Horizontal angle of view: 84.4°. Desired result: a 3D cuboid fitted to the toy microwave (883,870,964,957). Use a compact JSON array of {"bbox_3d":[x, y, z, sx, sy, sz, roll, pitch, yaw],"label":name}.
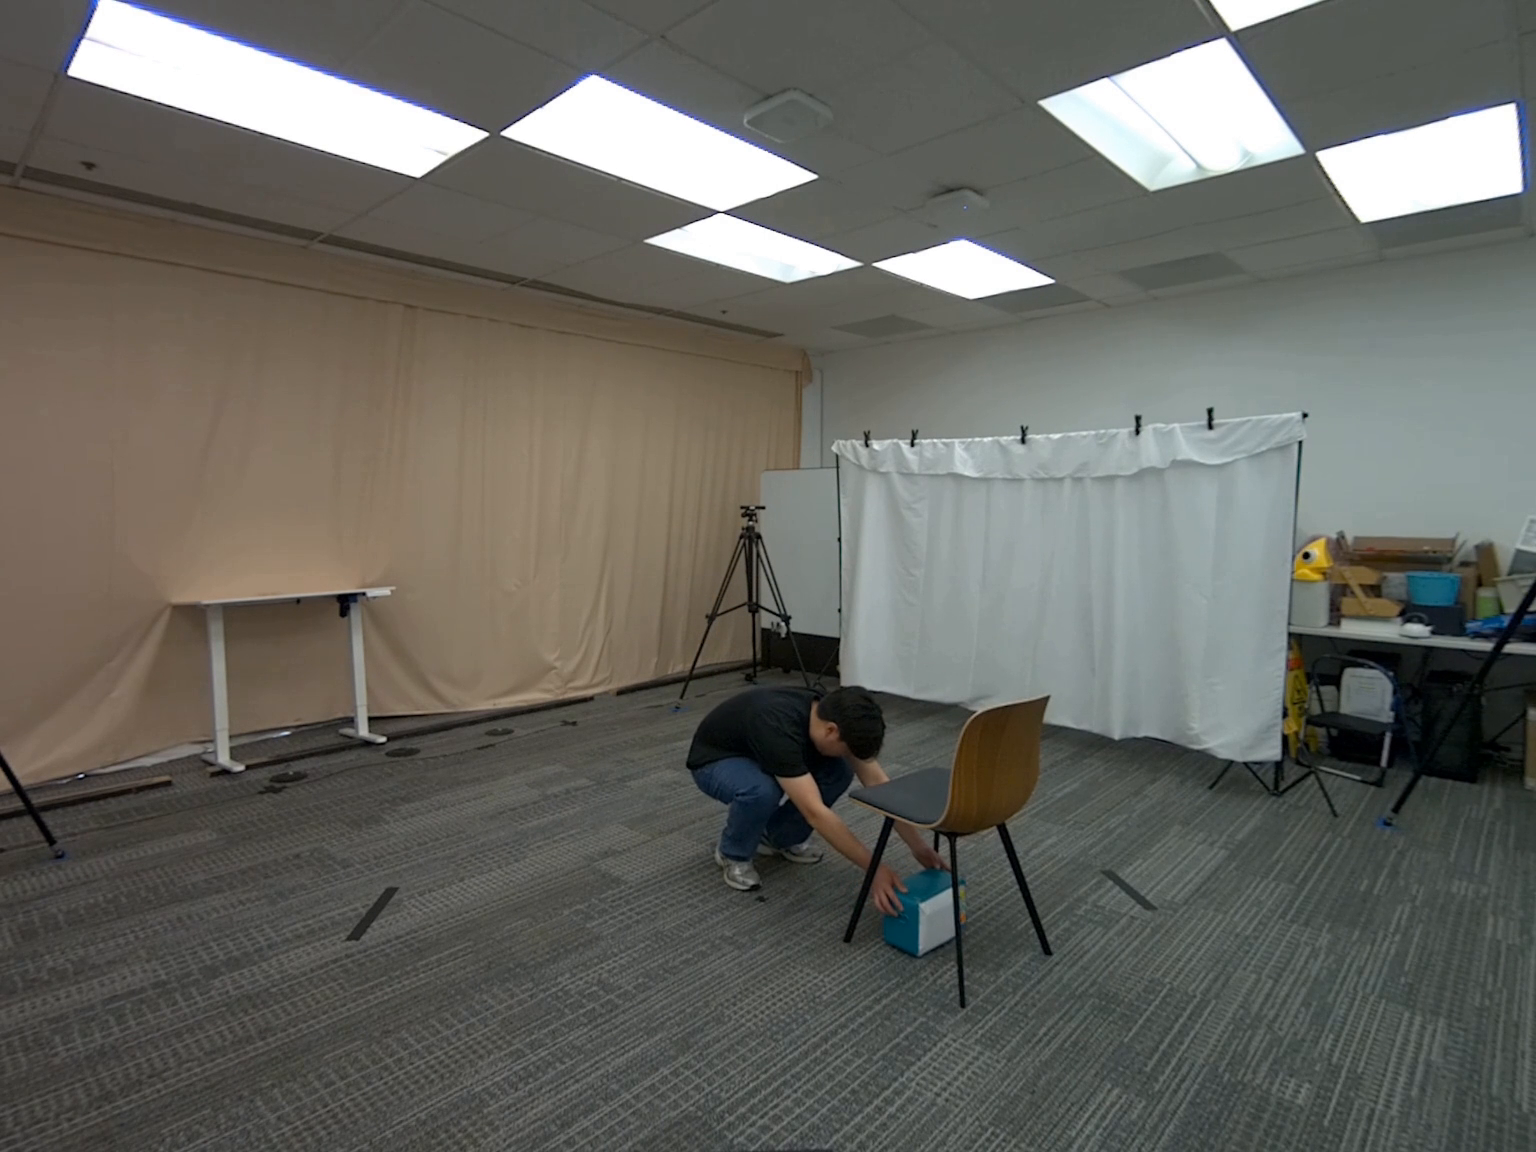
[{"bbox_3d":[0.516,1.079,2.695,0.277,0.183,0.157,-3,7,-42],"label":"toy microwave"}]
